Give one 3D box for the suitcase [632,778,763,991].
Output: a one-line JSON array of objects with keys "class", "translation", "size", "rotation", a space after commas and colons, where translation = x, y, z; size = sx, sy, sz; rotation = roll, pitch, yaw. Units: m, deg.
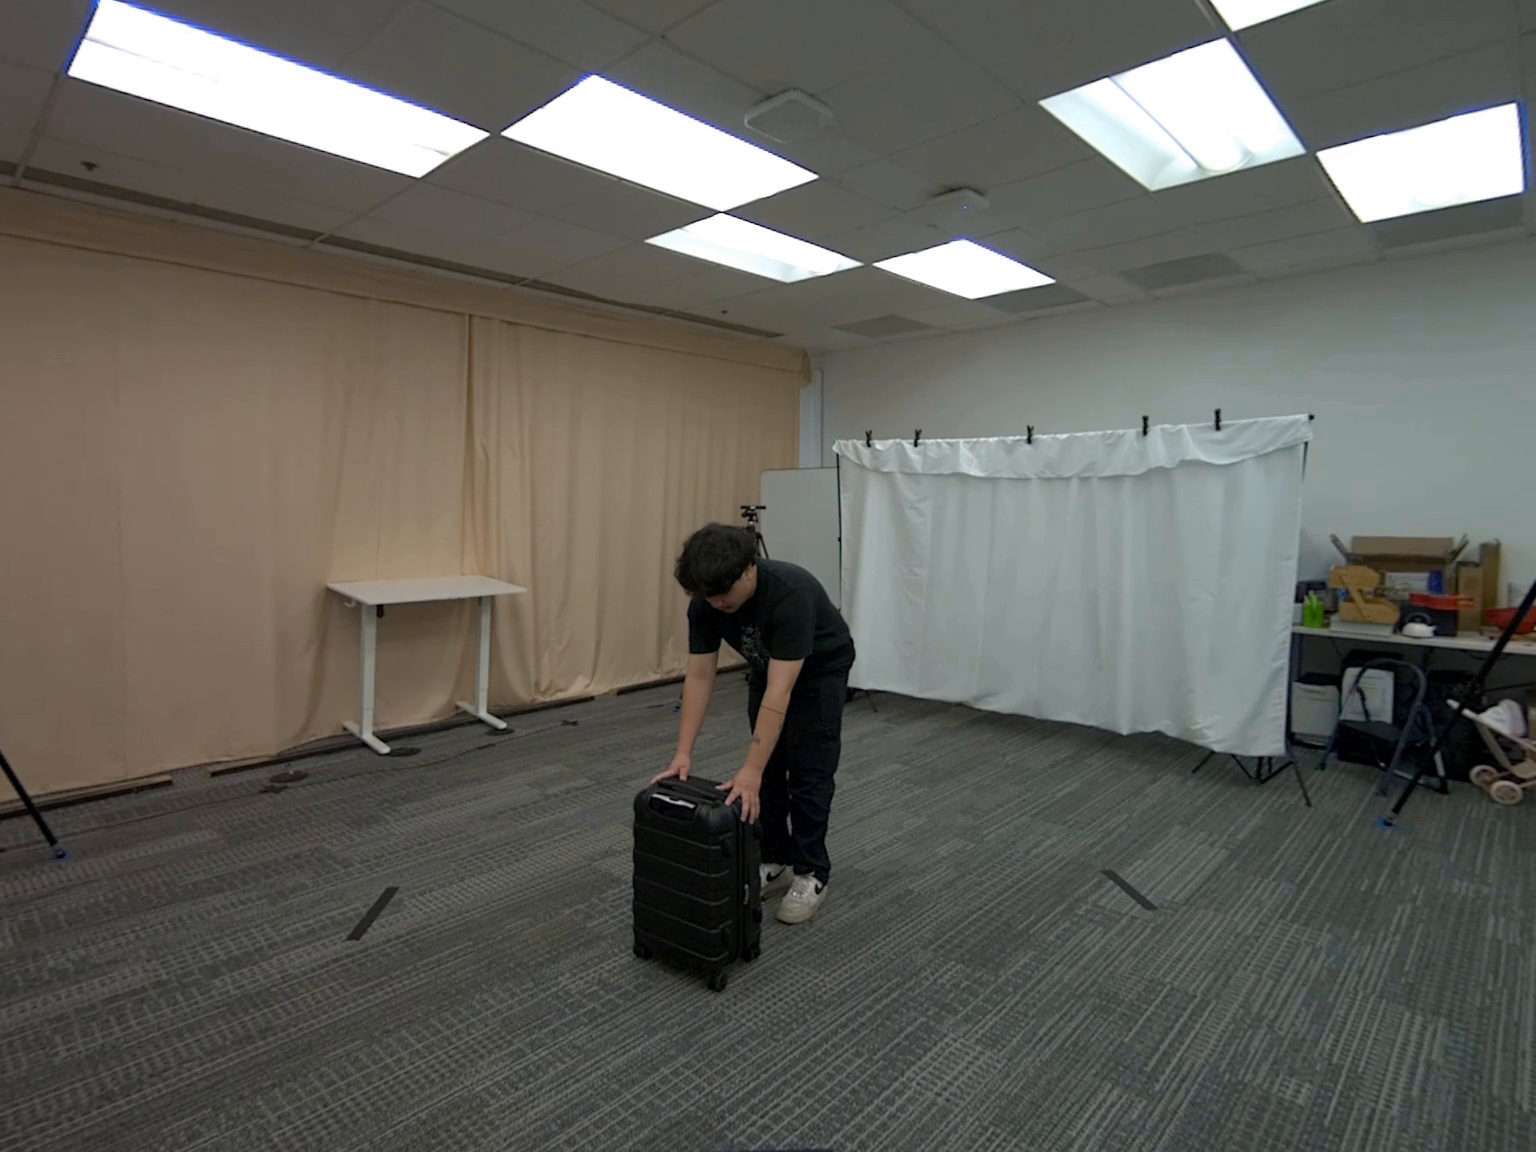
[{"class": "suitcase", "translation": [-0.221, 0.909, 2.567], "size": [0.387, 0.548, 0.241], "rotation": [2, 5, 36]}]
